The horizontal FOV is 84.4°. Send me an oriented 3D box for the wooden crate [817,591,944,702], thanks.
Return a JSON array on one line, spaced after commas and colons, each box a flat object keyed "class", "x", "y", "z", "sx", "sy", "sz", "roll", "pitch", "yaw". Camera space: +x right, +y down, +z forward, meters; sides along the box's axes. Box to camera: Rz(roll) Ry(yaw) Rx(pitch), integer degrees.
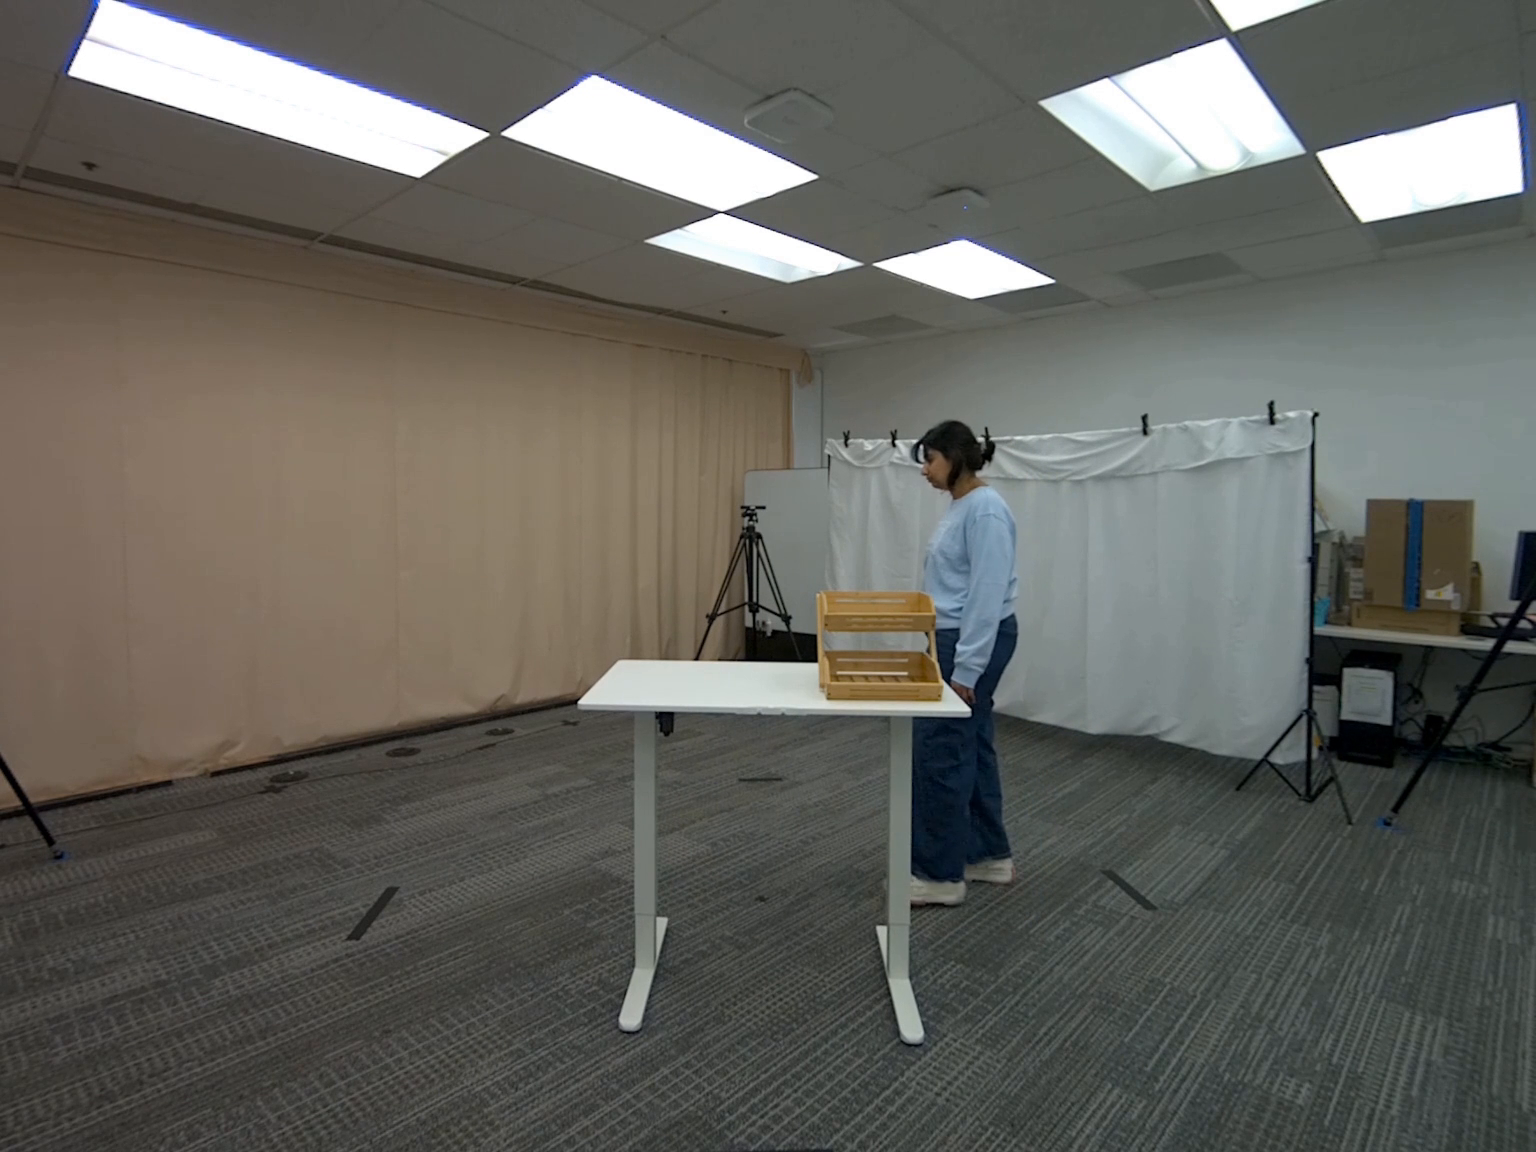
[{"class": "wooden crate", "x": 0.314, "y": 0.183, "z": 2.327, "sx": 0.325, "sy": 0.273, "sz": 0.302, "roll": 0, "pitch": 3, "yaw": 0}]
